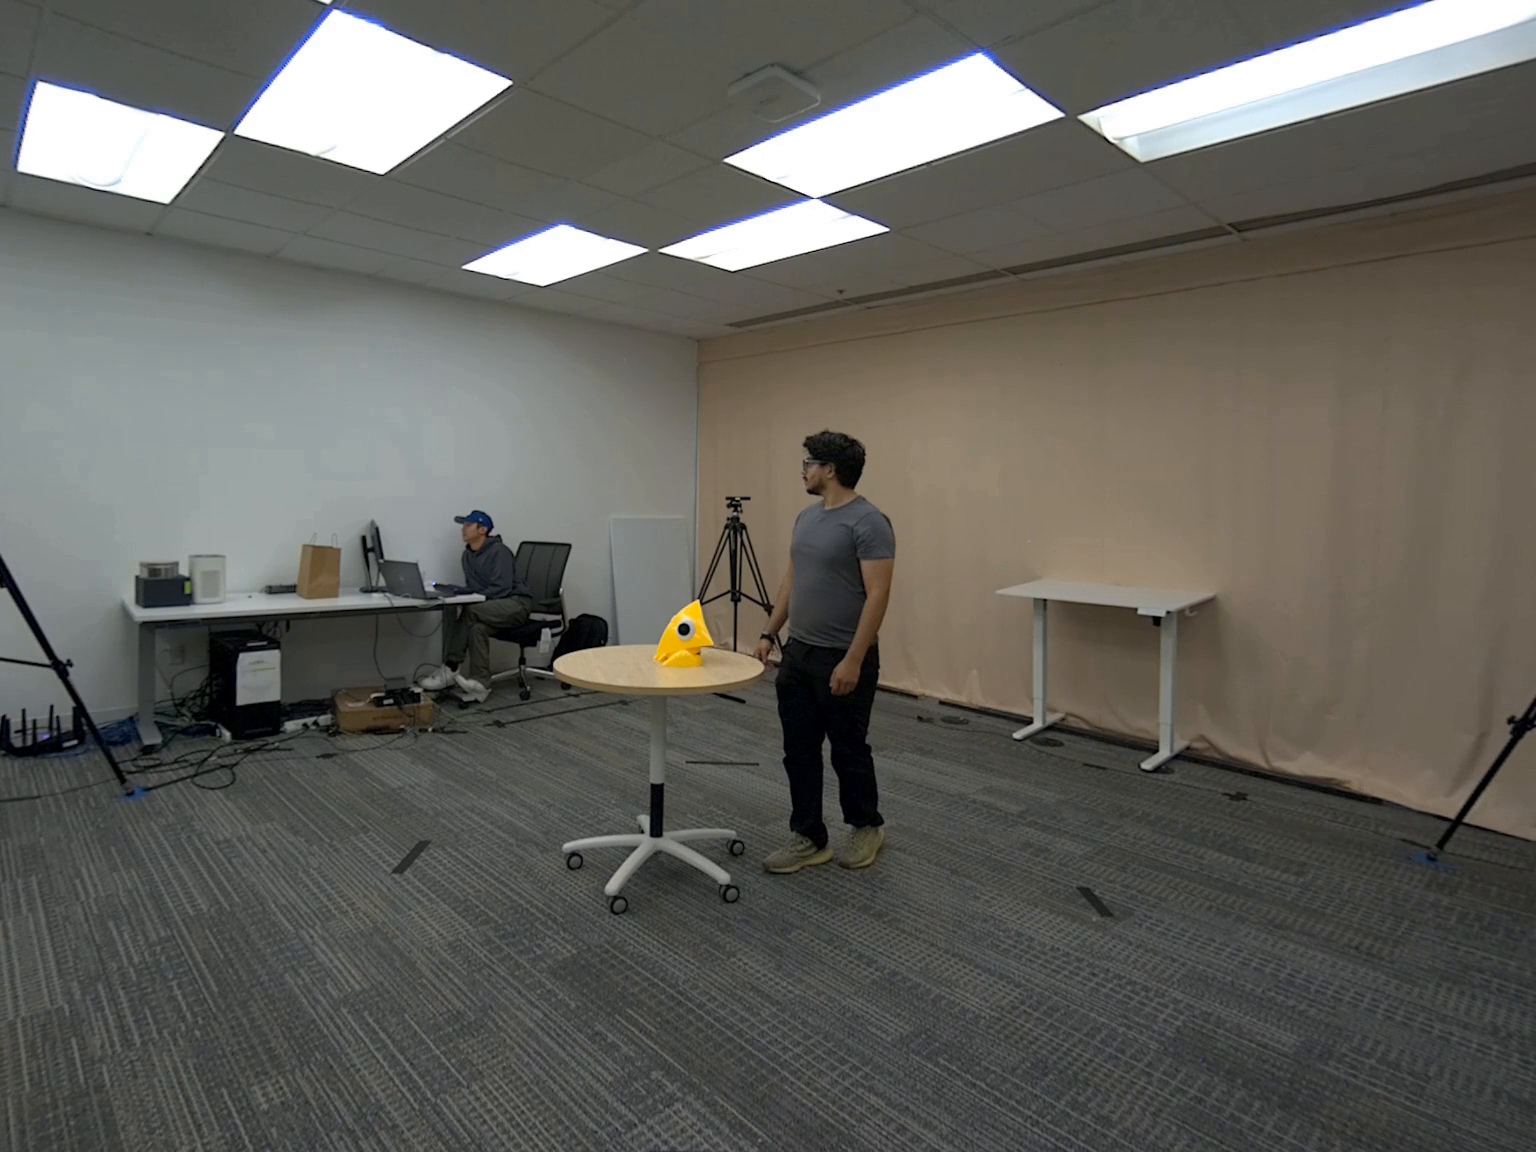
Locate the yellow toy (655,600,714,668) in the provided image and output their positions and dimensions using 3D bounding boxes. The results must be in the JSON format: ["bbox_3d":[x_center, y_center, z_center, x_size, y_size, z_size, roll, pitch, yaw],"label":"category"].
[{"bbox_3d":[-0.318,0.204,3.119,0.190,0.230,0.208,0,4,-21],"label":"yellow toy"}]
